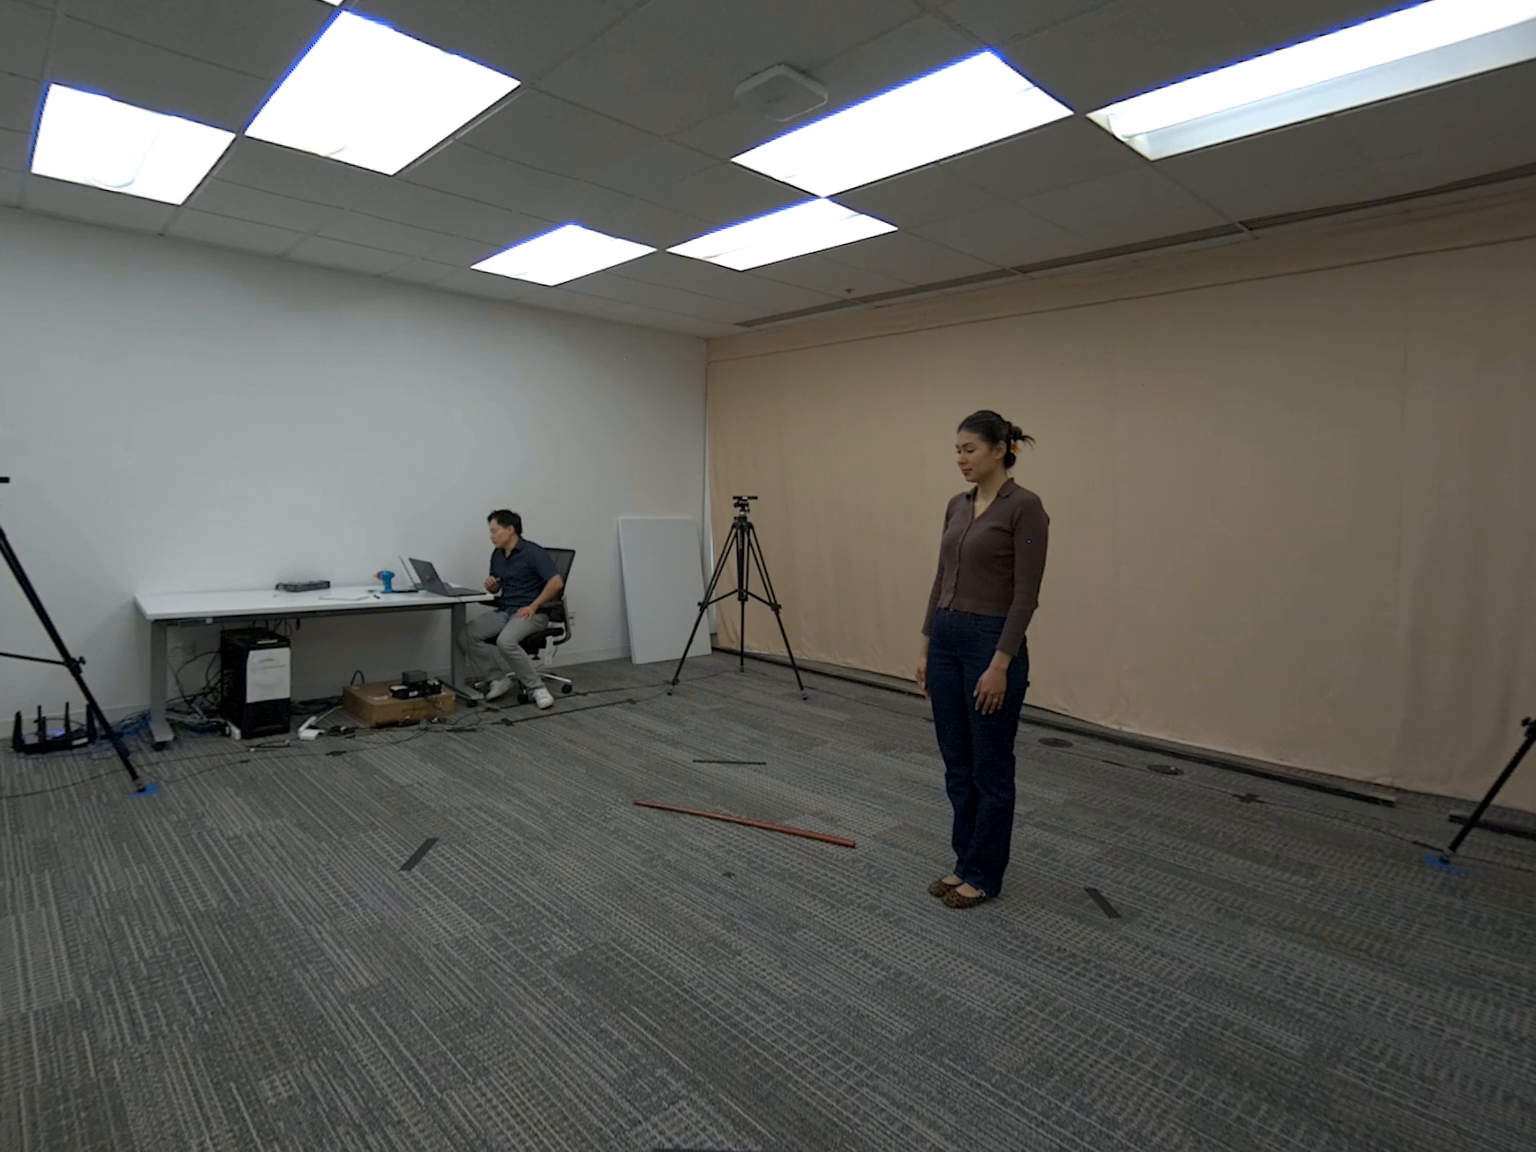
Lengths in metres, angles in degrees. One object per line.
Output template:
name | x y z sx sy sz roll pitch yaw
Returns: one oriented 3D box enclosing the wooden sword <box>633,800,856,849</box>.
wooden sword | -0.134 1.035 3.594 1.044 0.024 0.050 3 -8 24
